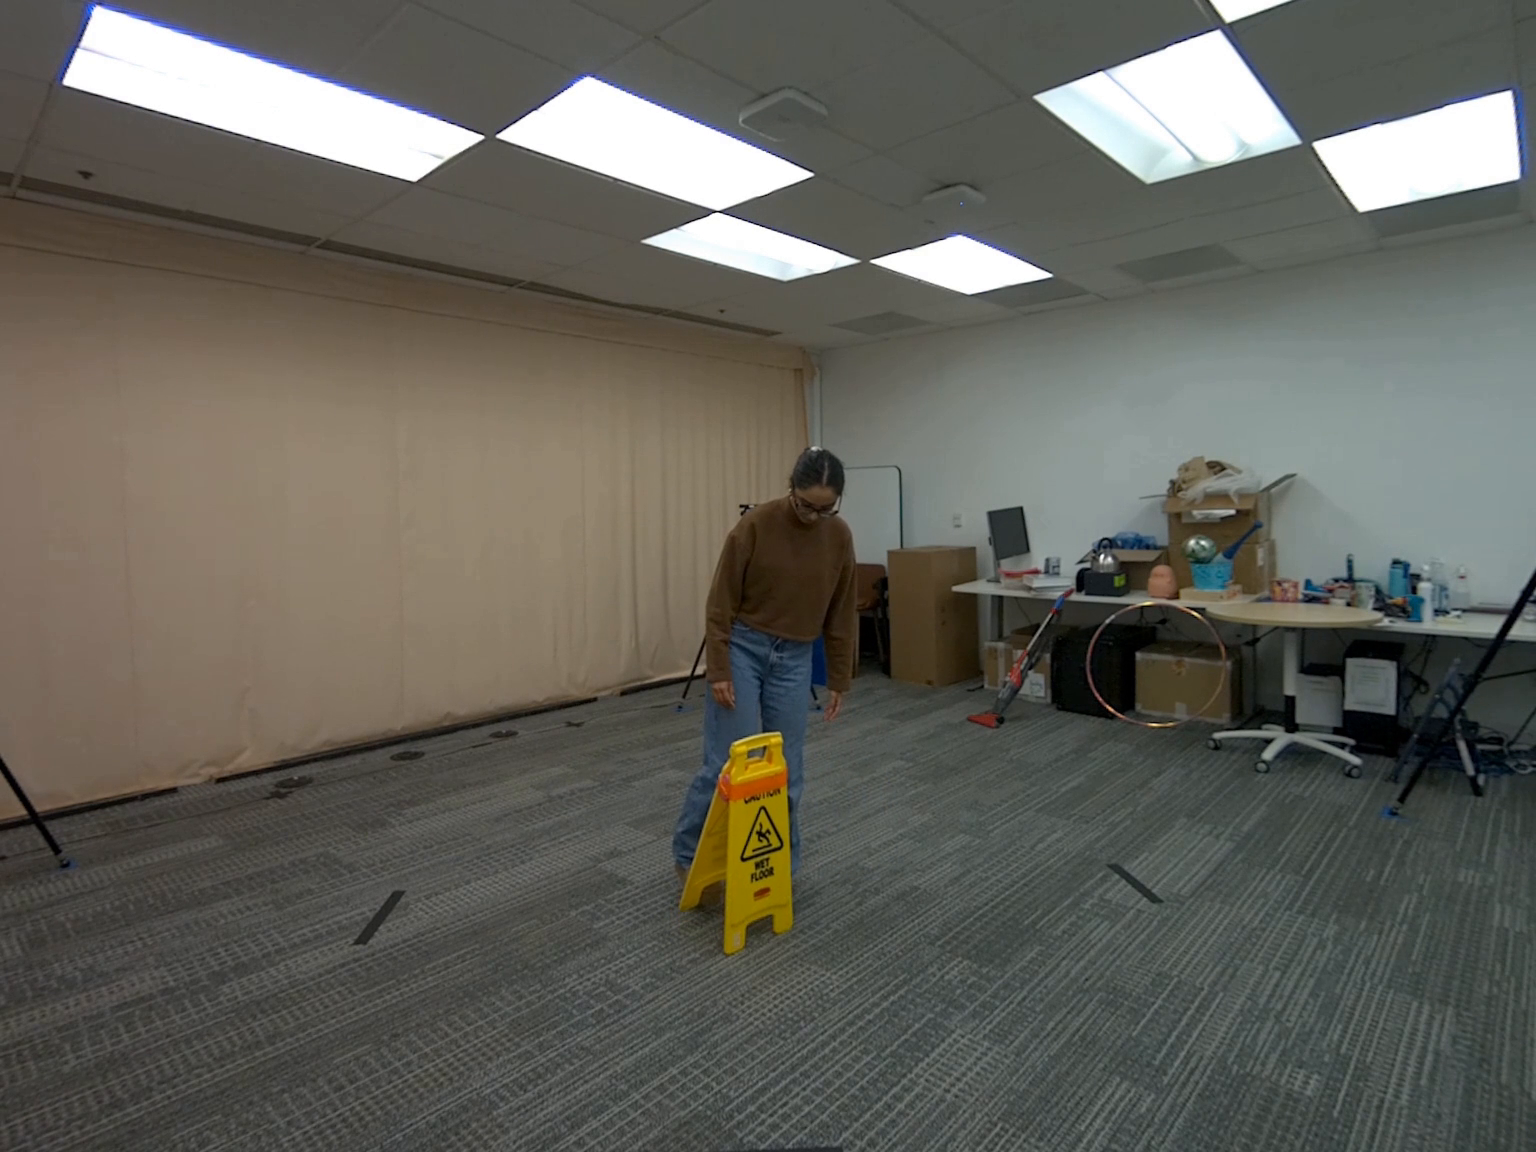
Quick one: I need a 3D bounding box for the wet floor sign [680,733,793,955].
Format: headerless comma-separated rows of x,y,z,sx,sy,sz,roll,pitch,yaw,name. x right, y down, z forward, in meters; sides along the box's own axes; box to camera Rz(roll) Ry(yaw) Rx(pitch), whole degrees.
-0.075,0.819,2.716,0.274,0.642,0.300,-4,16,-40,wet floor sign
